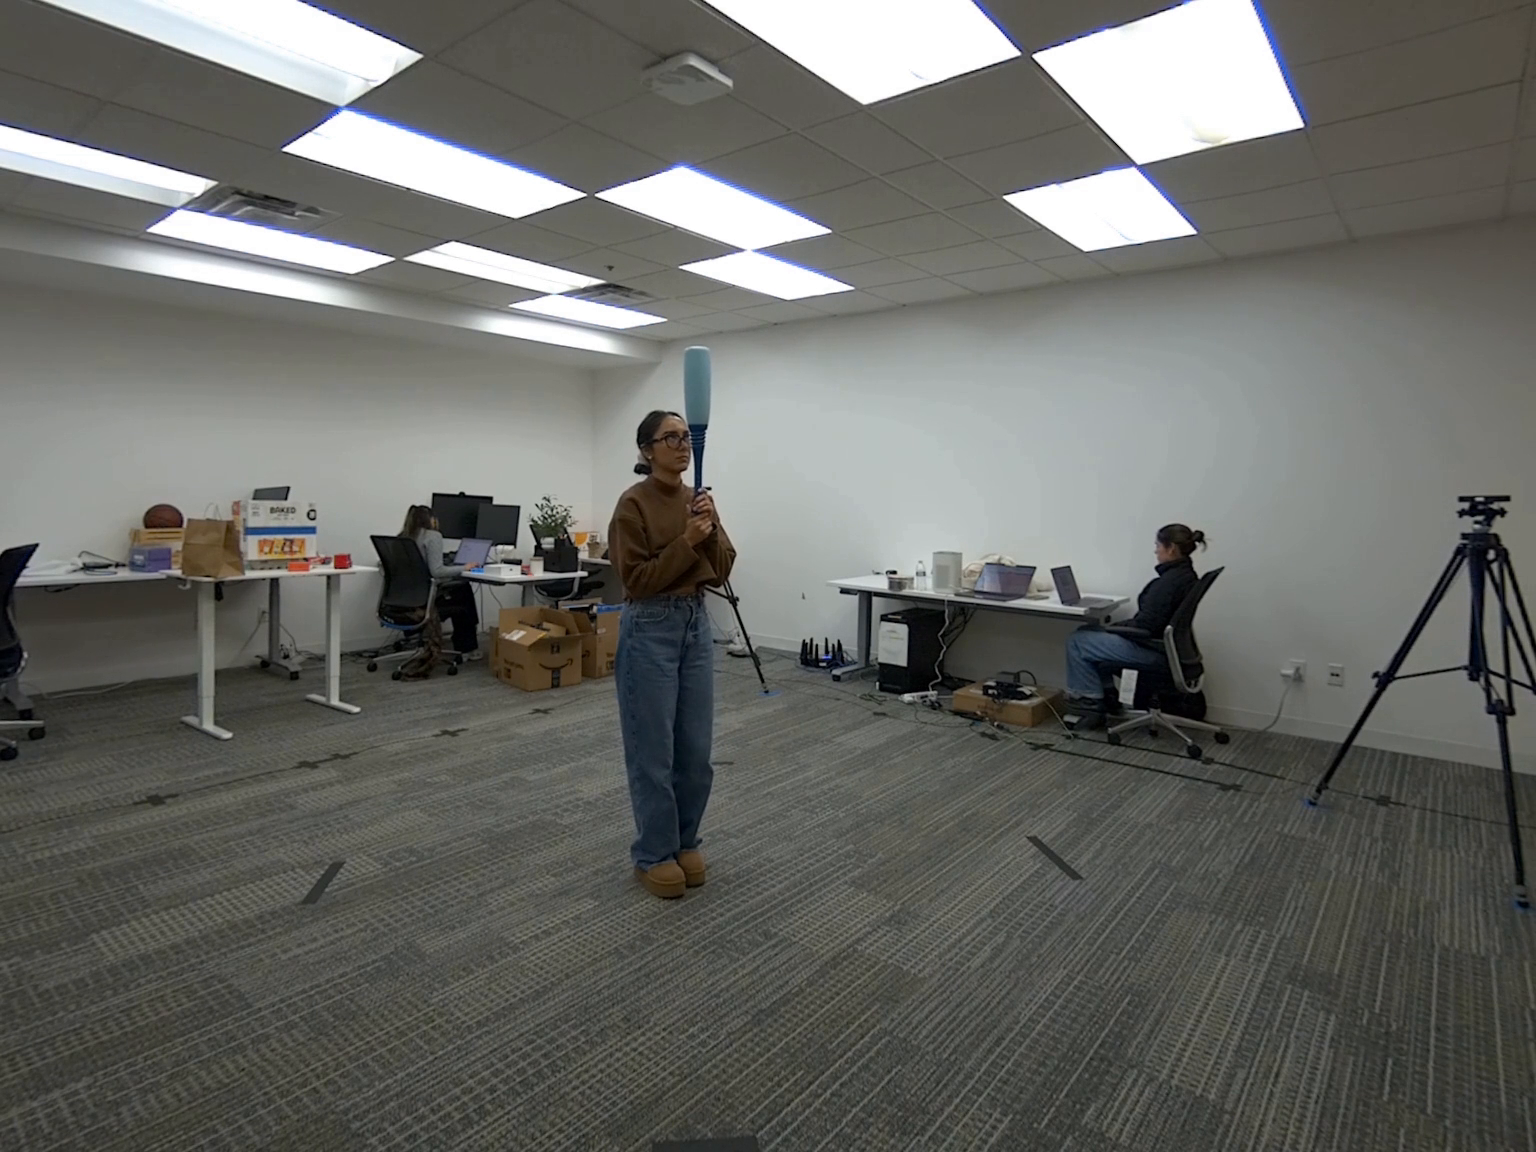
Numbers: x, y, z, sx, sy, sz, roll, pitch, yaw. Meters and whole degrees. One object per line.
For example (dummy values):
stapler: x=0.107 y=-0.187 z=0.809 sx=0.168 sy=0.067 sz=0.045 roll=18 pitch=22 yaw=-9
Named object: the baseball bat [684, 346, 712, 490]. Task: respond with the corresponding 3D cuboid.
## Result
baseball bat: x=-0.243 y=-0.482 z=2.795 sx=0.089 sy=0.540 sz=0.090 roll=1 pitch=6 yaw=-2
